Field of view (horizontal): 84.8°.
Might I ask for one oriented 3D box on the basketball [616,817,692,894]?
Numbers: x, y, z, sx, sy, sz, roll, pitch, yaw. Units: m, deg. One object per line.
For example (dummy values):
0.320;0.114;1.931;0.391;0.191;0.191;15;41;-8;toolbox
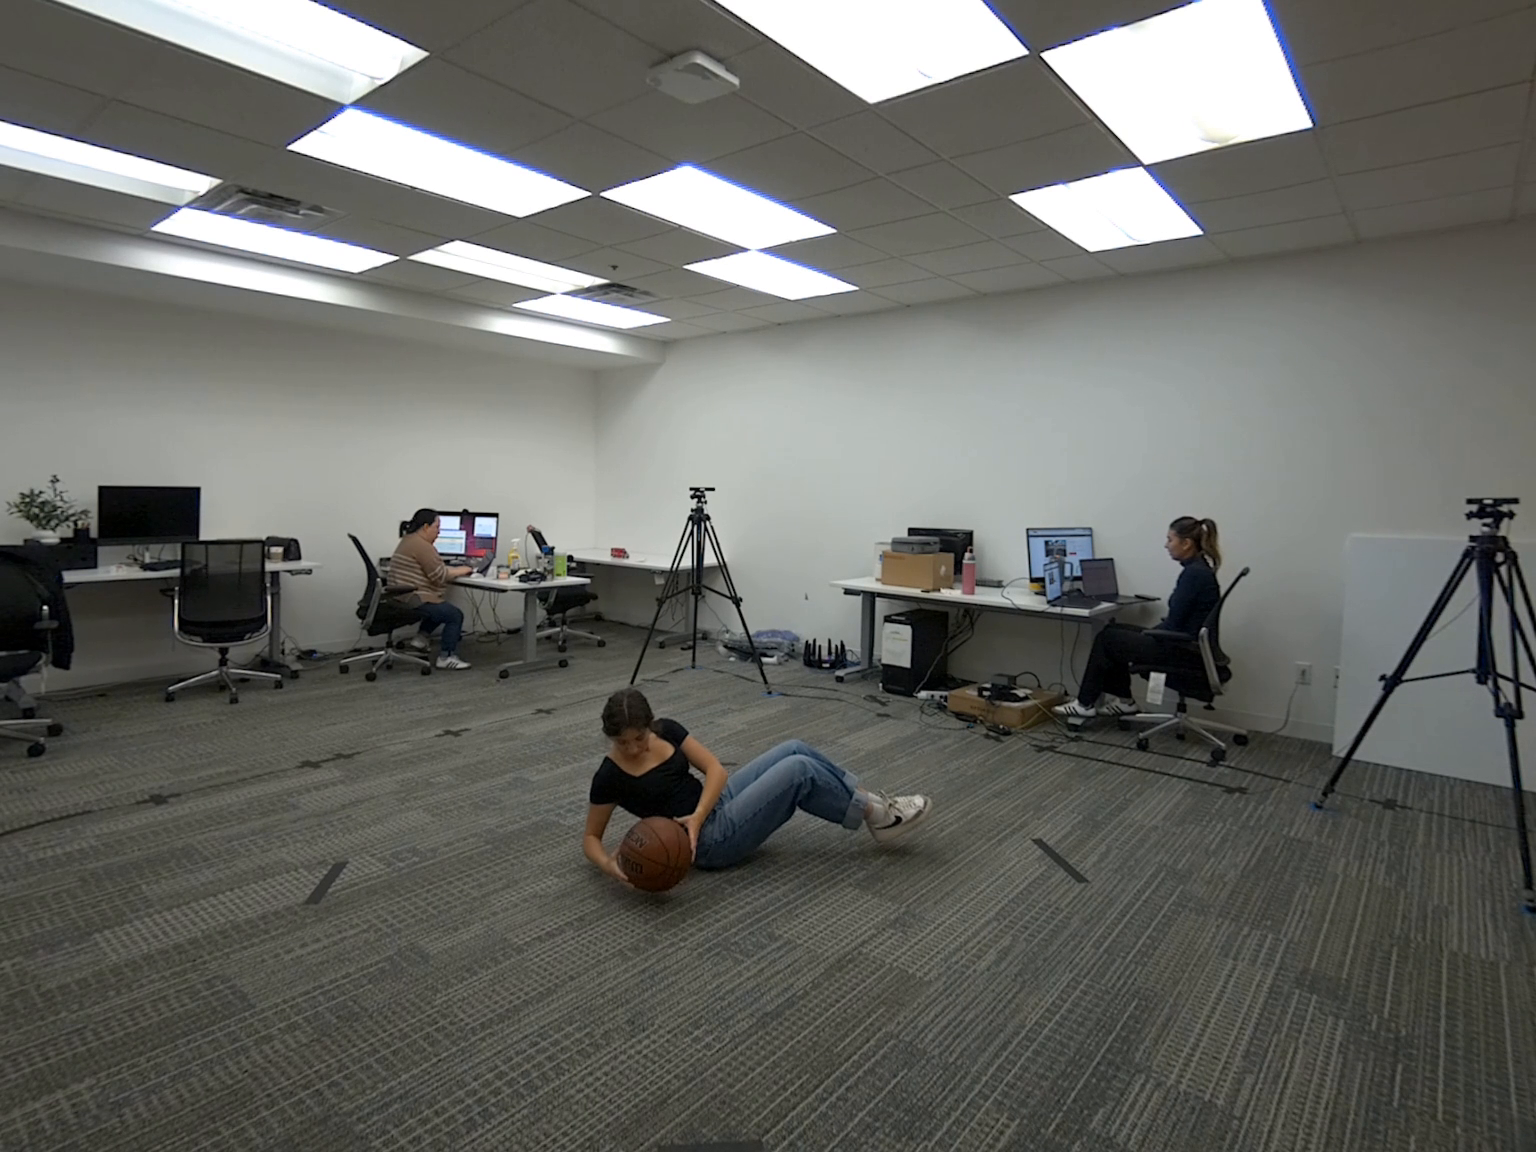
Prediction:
-0.378;0.915;2.859;0.235;0.235;0.237;1;4;-2;basketball
